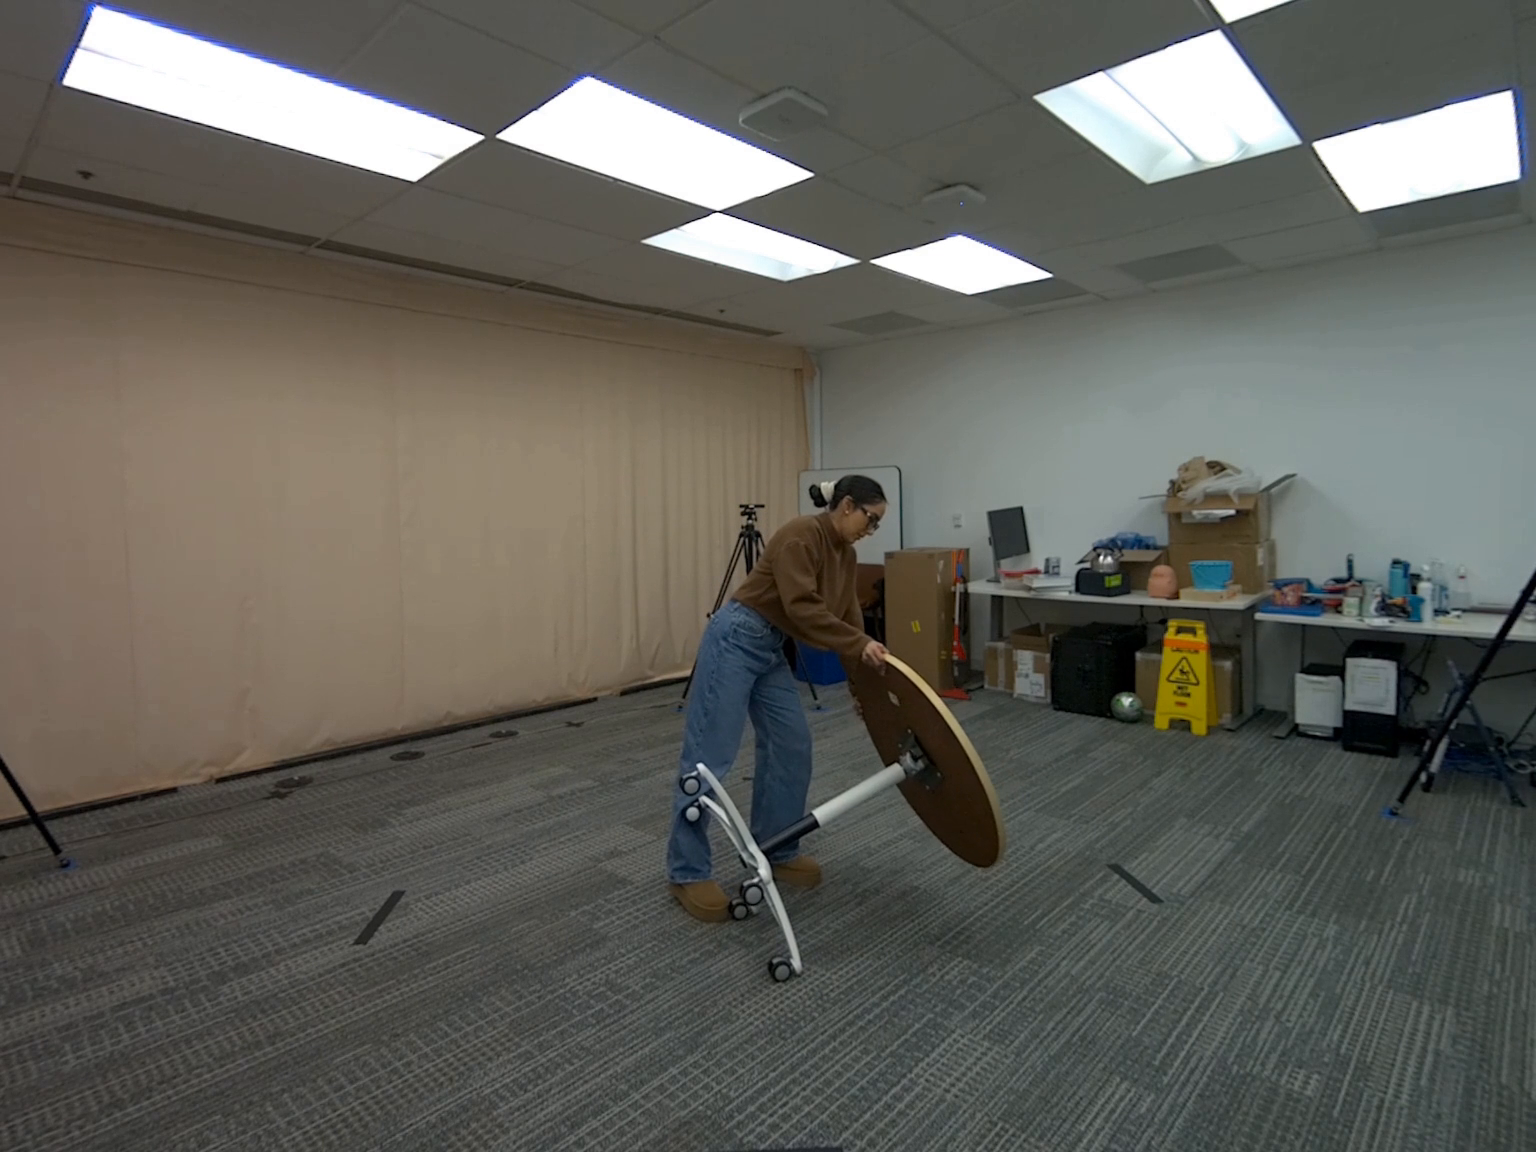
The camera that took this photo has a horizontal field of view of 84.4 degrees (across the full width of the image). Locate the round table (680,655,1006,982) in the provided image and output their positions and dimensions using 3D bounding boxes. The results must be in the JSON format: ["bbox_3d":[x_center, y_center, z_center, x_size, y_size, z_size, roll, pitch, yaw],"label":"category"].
[{"bbox_3d":[0.198,0.760,2.705,0.786,0.756,0.779,-26,11,-15],"label":"round table"}]
